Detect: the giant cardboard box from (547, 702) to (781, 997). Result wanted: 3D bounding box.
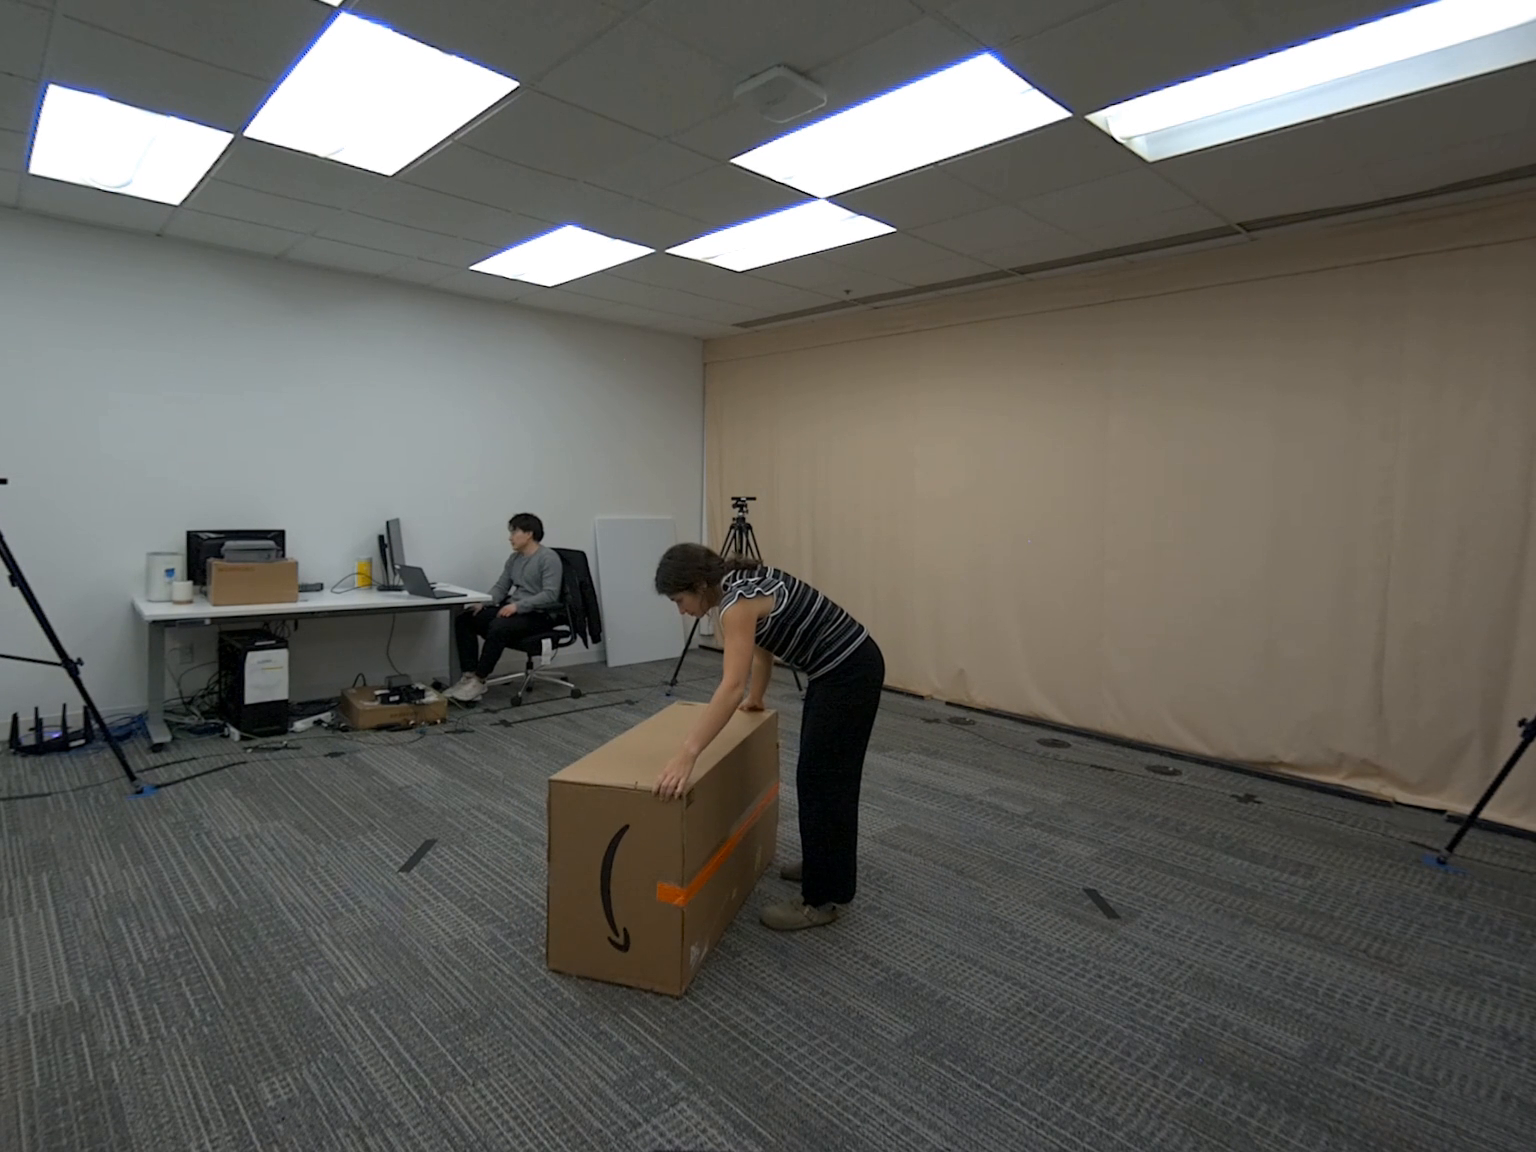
[{"bbox_3d":[-0.311,0.835,2.856,0.432,0.576,1.015,3,5,16],"label":"giant cardboard box"}]
